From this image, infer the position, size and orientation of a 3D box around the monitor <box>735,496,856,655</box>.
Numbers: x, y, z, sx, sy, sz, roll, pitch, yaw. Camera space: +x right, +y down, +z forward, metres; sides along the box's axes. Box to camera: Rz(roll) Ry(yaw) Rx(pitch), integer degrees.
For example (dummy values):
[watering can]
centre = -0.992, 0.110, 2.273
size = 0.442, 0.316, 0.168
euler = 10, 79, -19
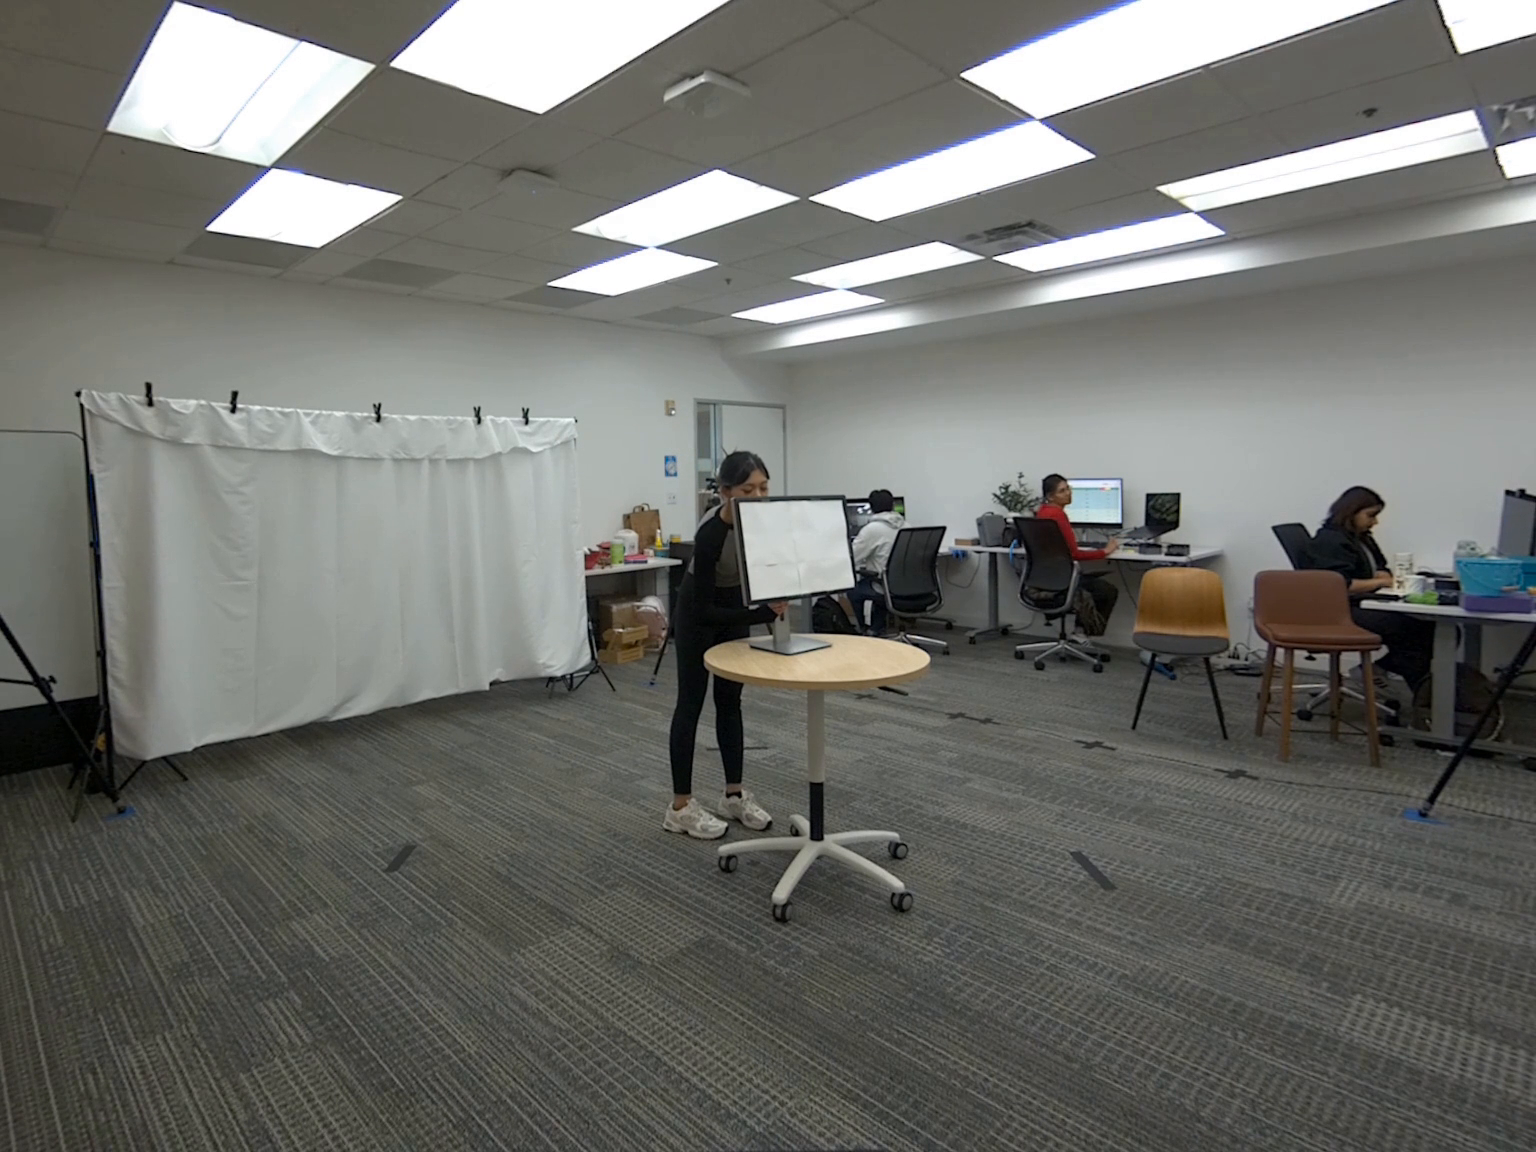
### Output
[monitor]
centre = 0.082, -0.009, 3.047
size = 0.525, 0.520, 0.193
euler = -6, 8, -44
